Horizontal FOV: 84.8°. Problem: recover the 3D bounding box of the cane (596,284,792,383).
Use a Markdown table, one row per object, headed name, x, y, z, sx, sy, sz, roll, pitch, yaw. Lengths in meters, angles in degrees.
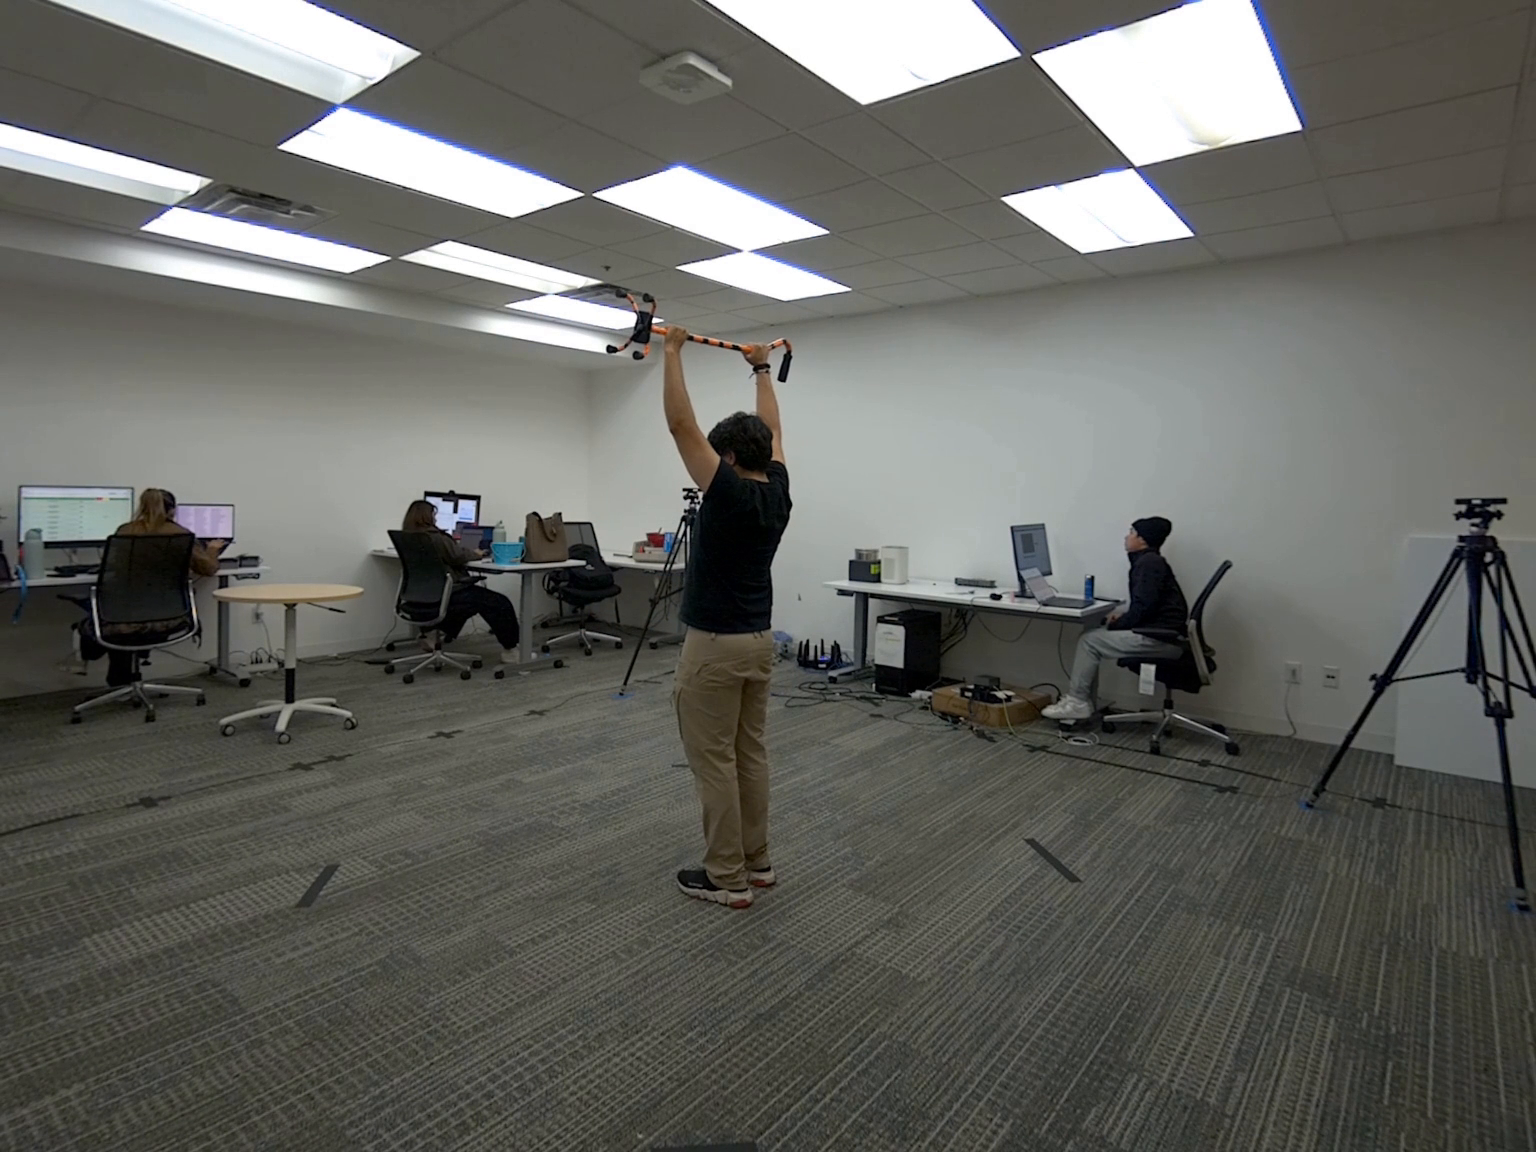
| name | x | y | z | sx | sy | sz | roll | pitch | yaw |
| --- | --- | --- | --- | --- | --- | --- | --- | --- | --- |
| cane | -0.196 | -0.836 | 3.023 | 0.157 | 0.204 | 0.883 | 23 | 18 | 32 |
